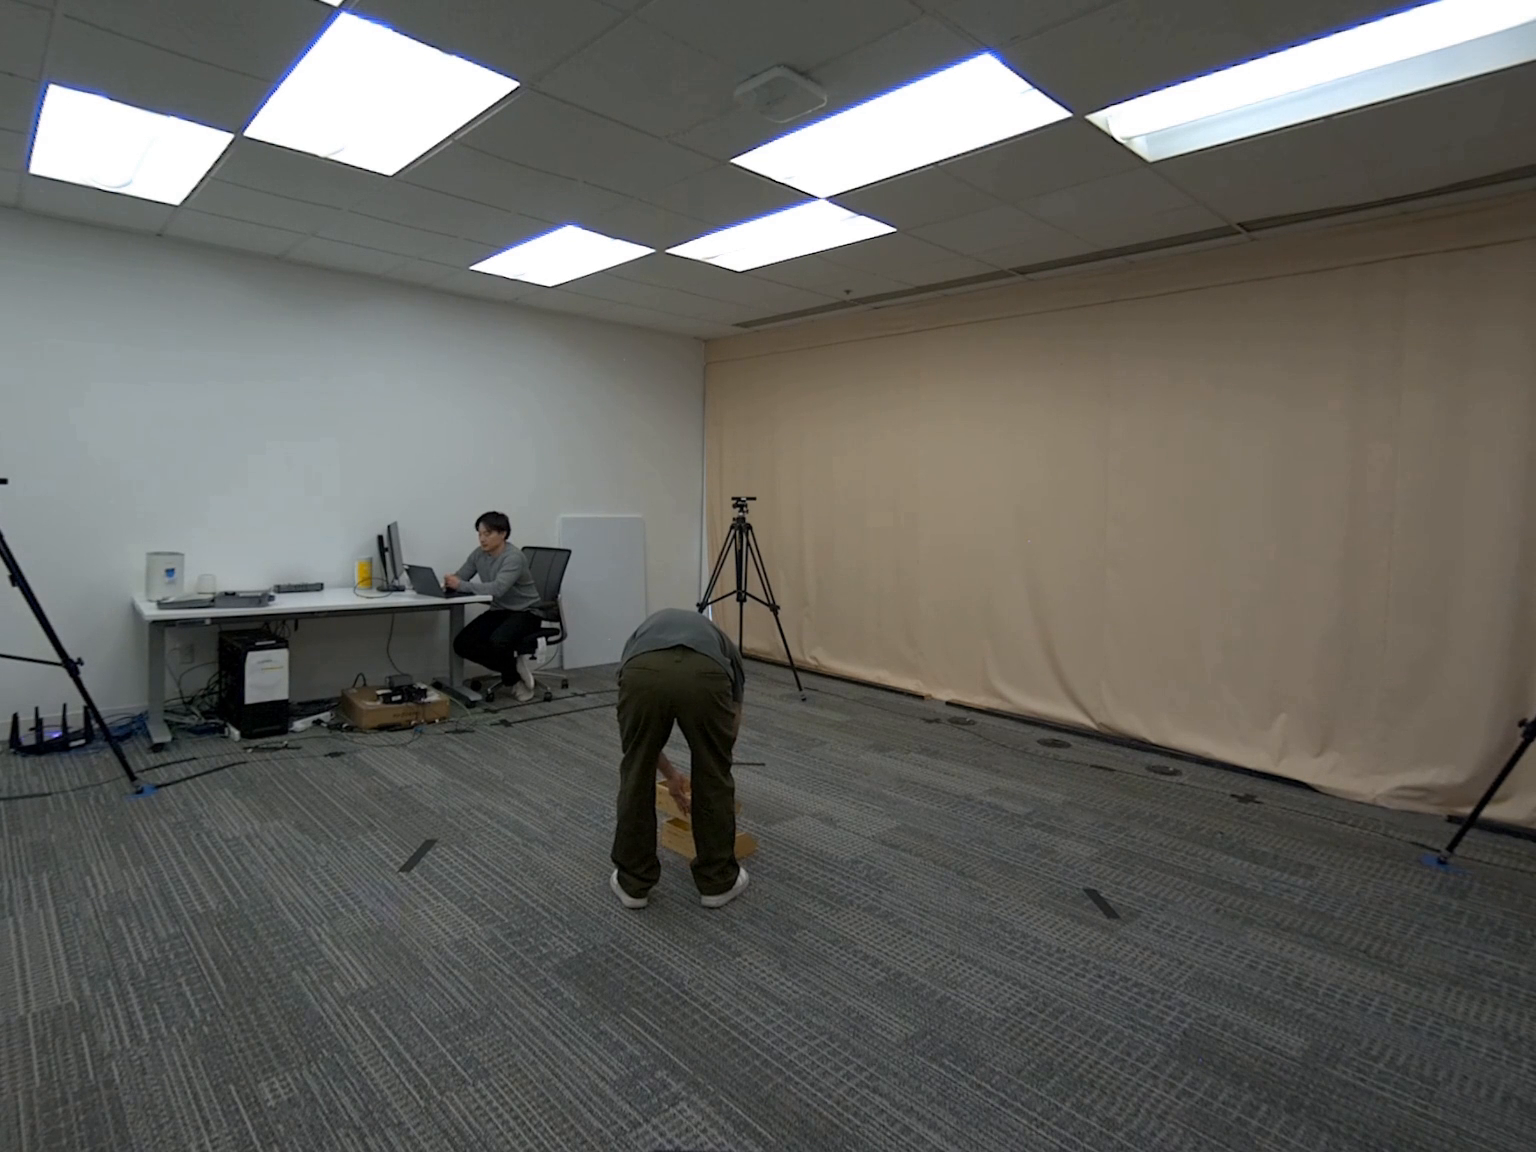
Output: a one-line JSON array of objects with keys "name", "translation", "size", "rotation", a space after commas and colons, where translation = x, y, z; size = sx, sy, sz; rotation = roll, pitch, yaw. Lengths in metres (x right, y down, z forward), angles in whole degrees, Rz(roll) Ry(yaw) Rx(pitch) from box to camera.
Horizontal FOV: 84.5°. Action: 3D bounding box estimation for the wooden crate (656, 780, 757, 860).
[{"name": "wooden crate", "translation": [-0.255, 0.951, 3.328], "size": [0.333, 0.272, 0.295], "rotation": [6, 6, 44]}]
